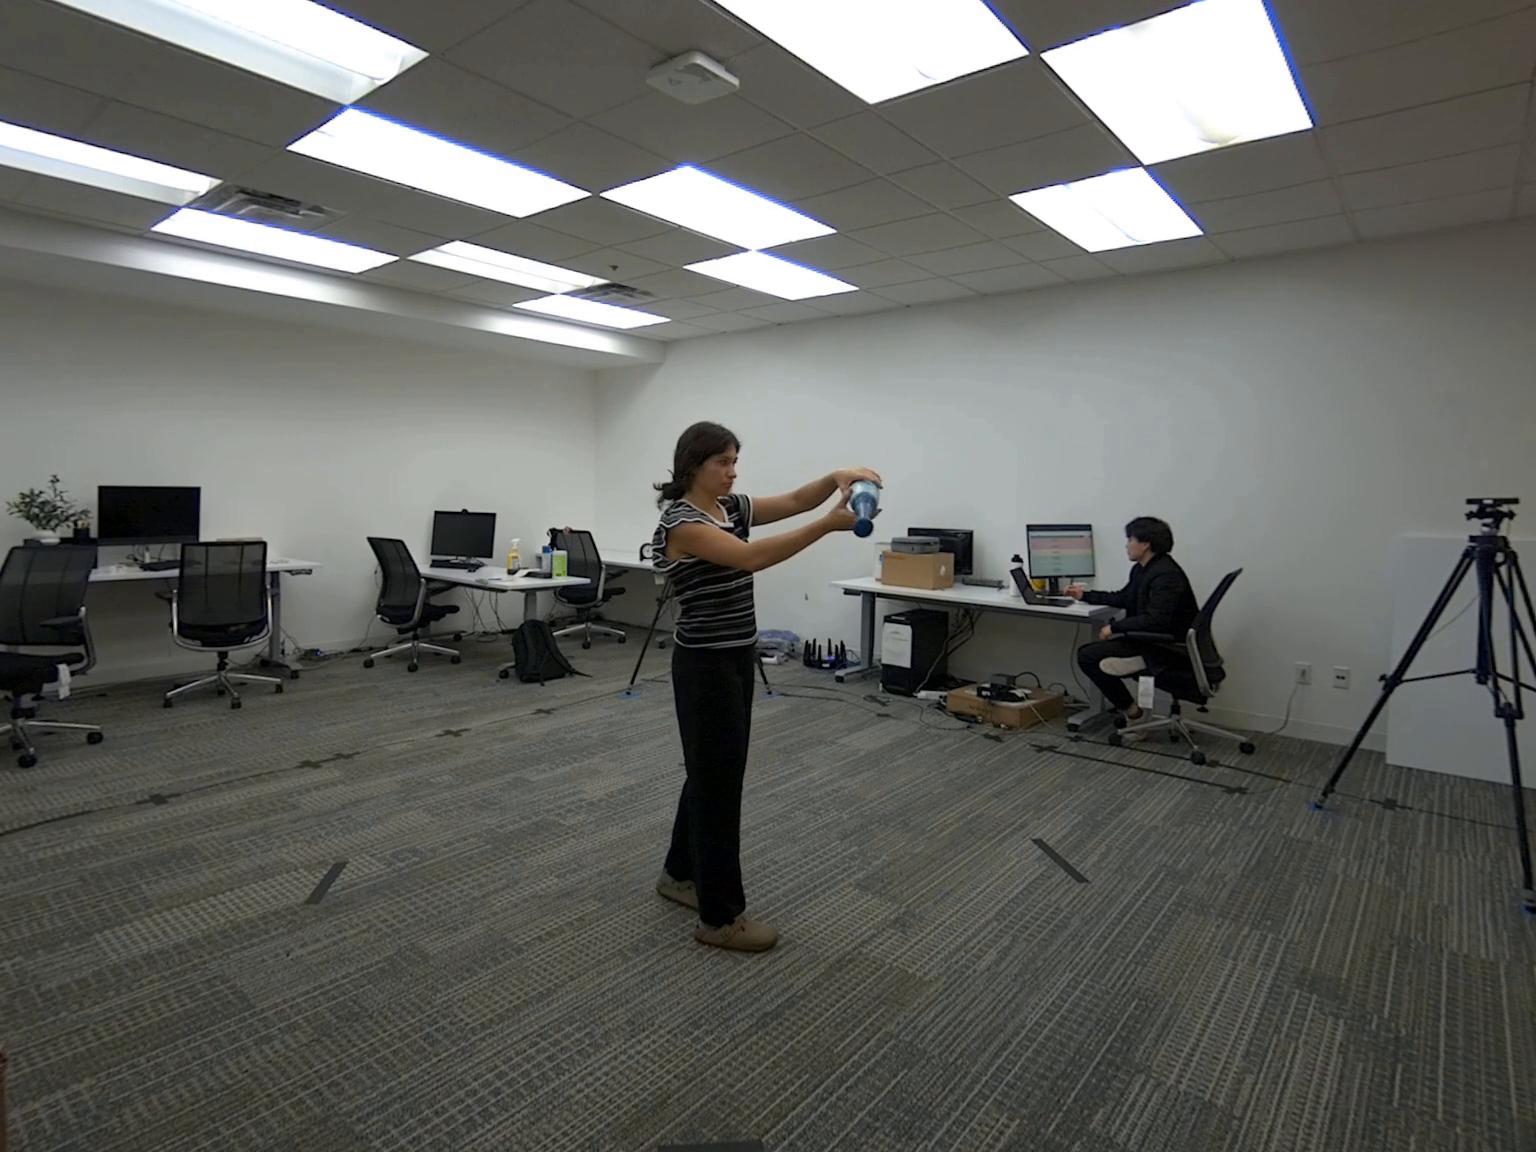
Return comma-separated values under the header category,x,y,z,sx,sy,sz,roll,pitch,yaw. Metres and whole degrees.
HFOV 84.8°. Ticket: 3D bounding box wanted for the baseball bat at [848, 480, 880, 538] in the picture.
category,x,y,z,sx,sy,sz,roll,pitch,yaw
baseball bat,0.255,-0.185,2.298,0.090,0.087,0.546,1,18,8
